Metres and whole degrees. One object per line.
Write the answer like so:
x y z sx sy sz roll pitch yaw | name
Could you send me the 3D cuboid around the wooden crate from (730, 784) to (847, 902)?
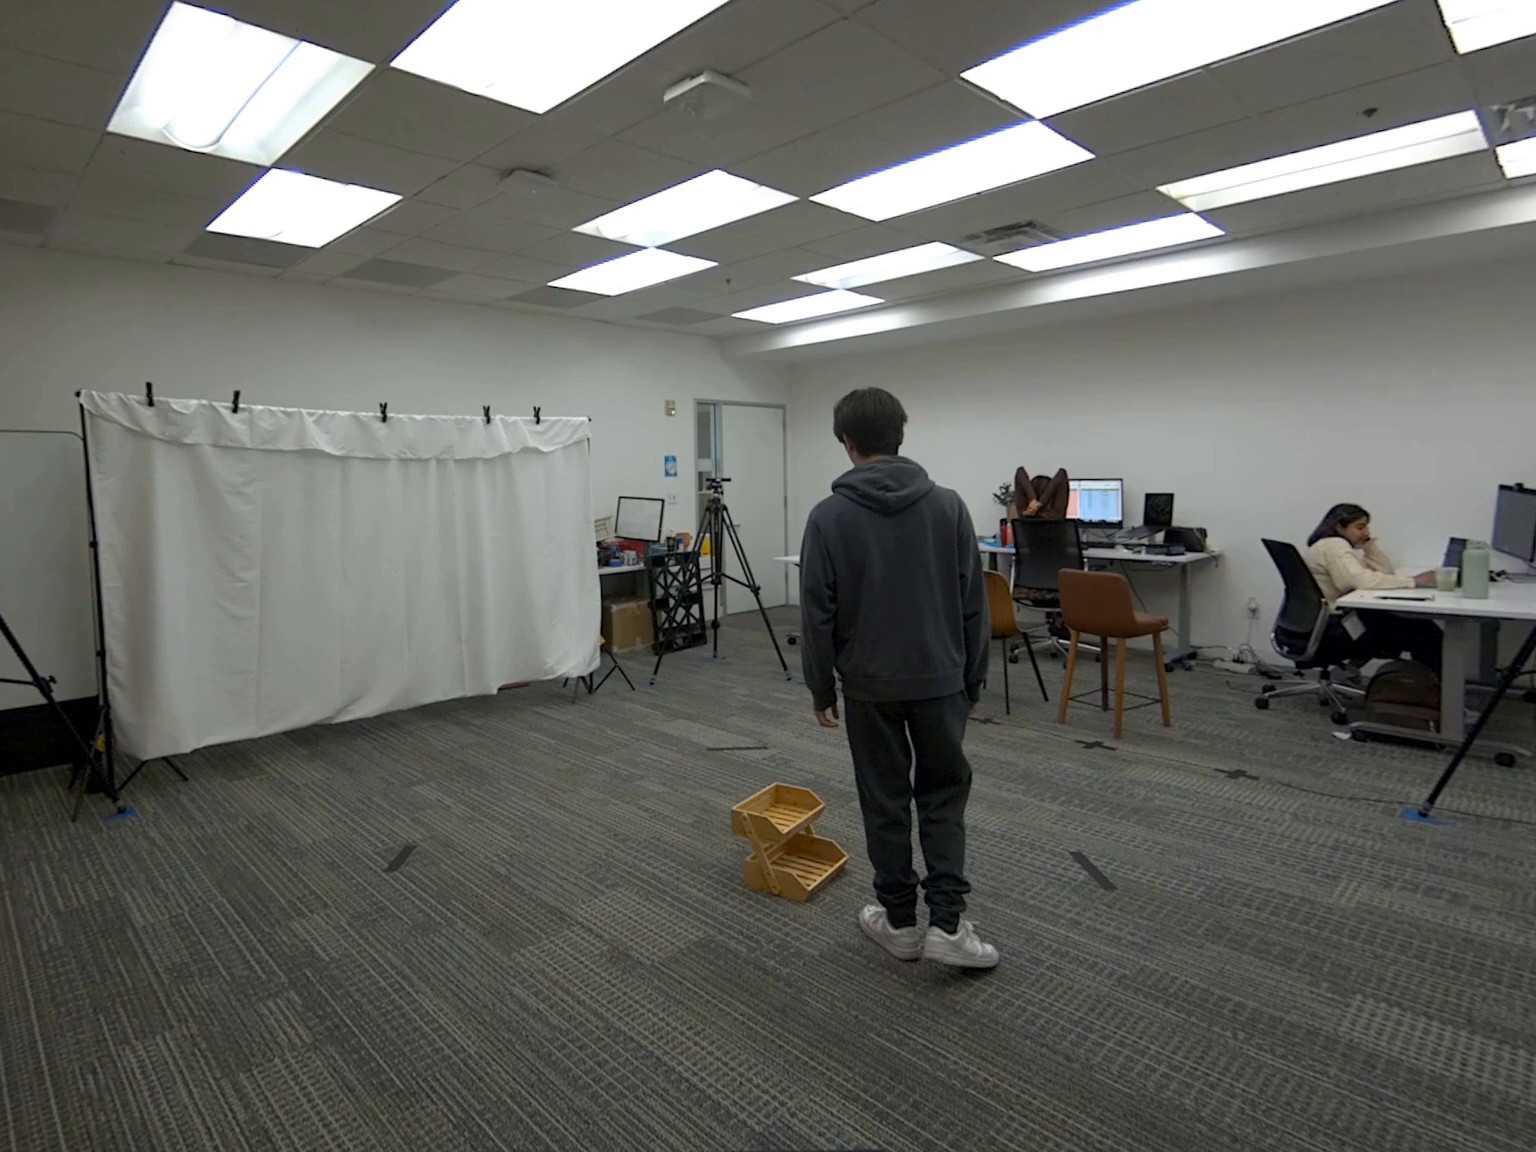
0.084 0.919 2.994 0.310 0.272 0.317 2 6 33 | wooden crate
